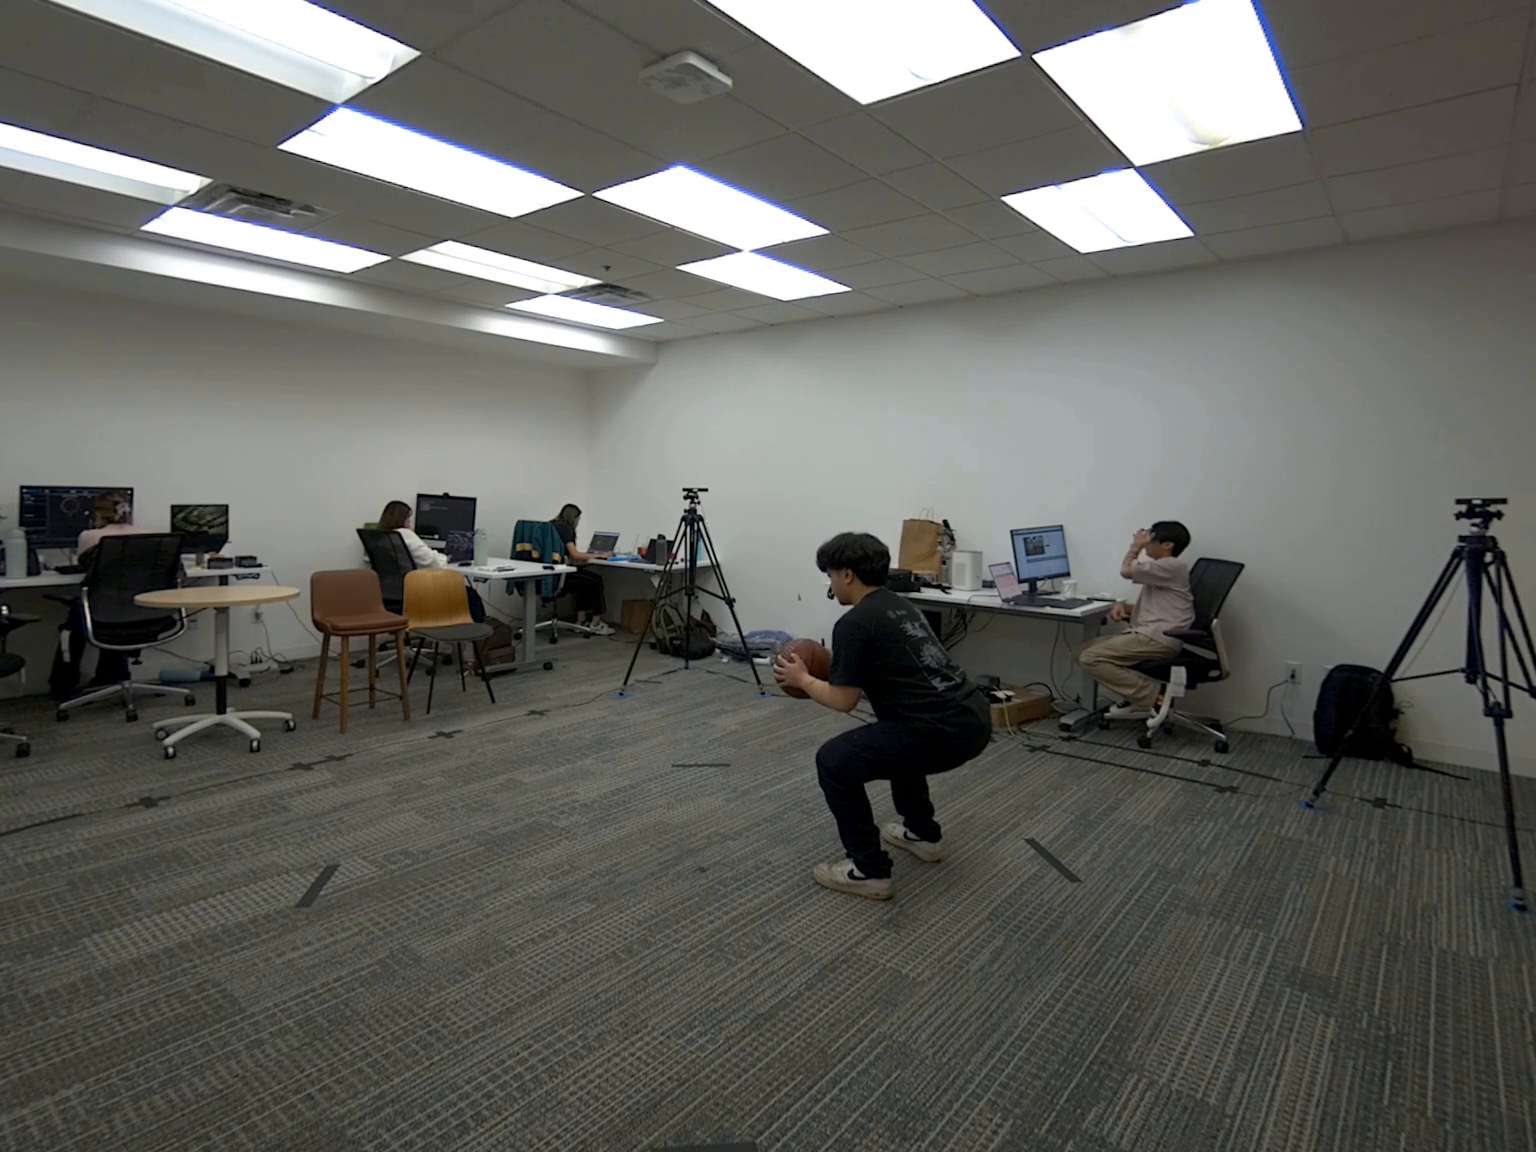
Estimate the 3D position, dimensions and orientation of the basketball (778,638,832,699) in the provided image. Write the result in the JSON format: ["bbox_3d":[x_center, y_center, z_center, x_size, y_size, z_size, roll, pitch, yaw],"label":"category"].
[{"bbox_3d":[0.131,0.360,3.379,0.235,0.235,0.237,1,4,-2],"label":"basketball"}]
